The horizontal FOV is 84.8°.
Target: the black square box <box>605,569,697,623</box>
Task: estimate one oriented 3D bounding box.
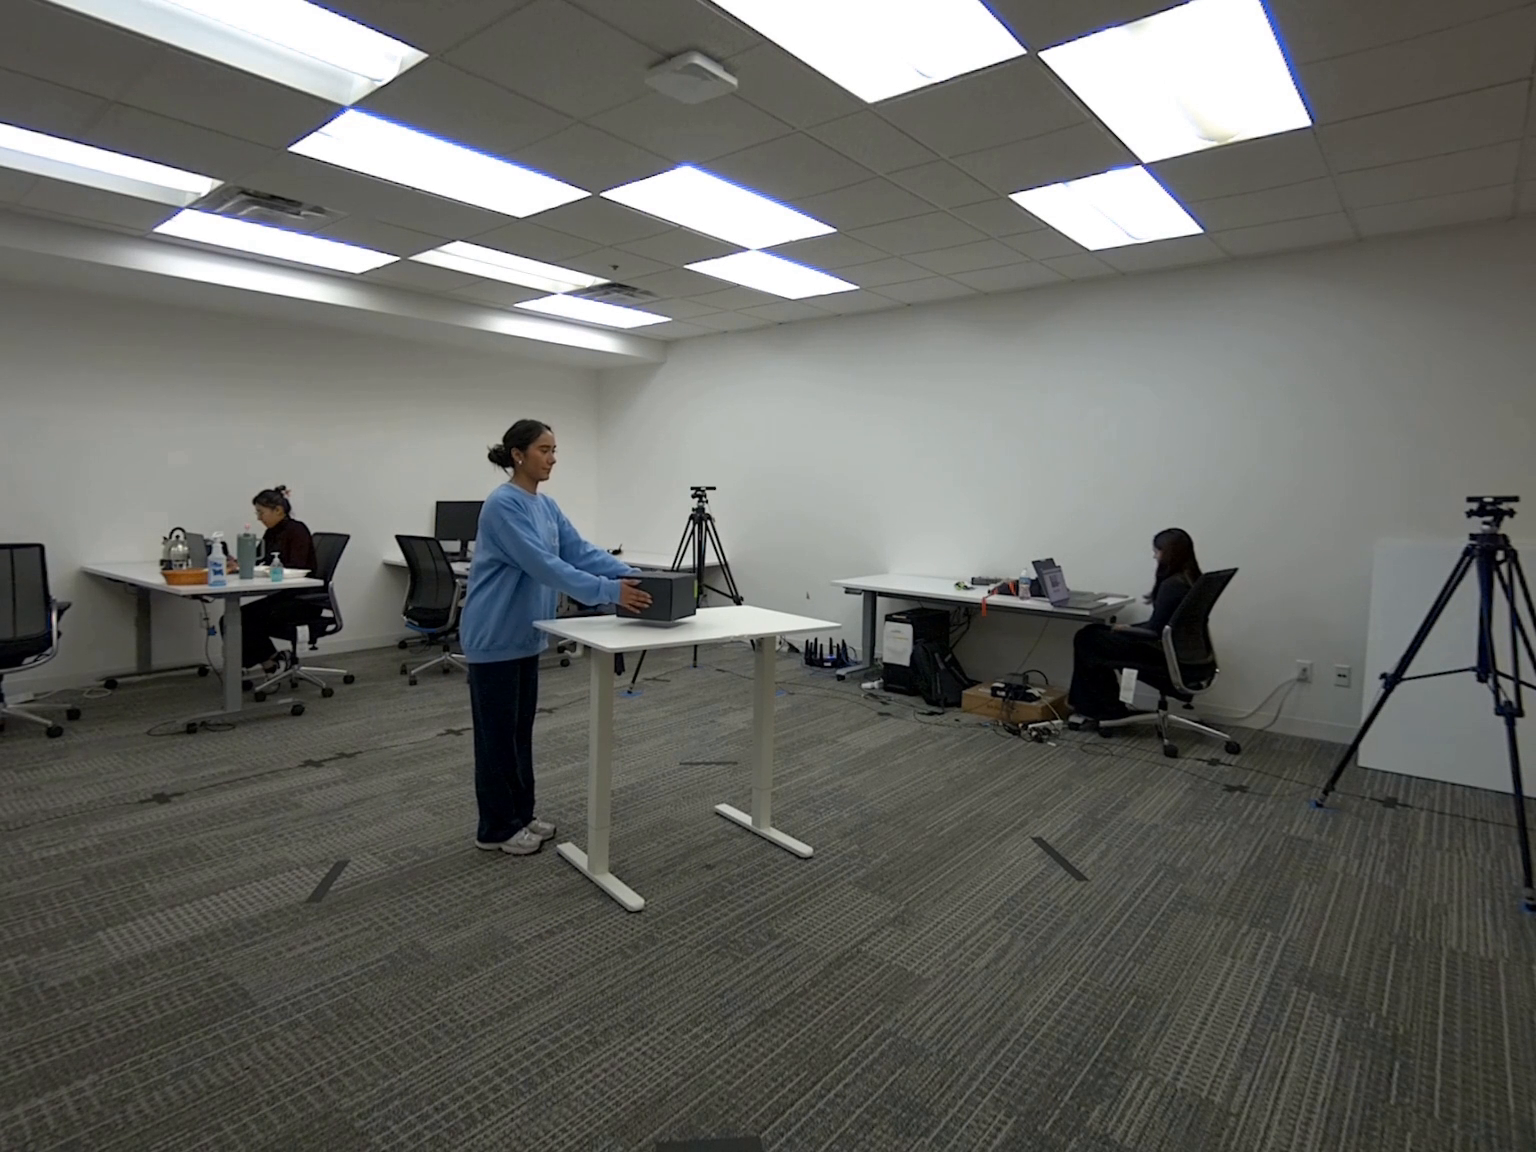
[{"bbox_3d":[-0.422,0.070,3.128,0.233,0.155,0.212,2,4,22],"label":"black square box"}]
